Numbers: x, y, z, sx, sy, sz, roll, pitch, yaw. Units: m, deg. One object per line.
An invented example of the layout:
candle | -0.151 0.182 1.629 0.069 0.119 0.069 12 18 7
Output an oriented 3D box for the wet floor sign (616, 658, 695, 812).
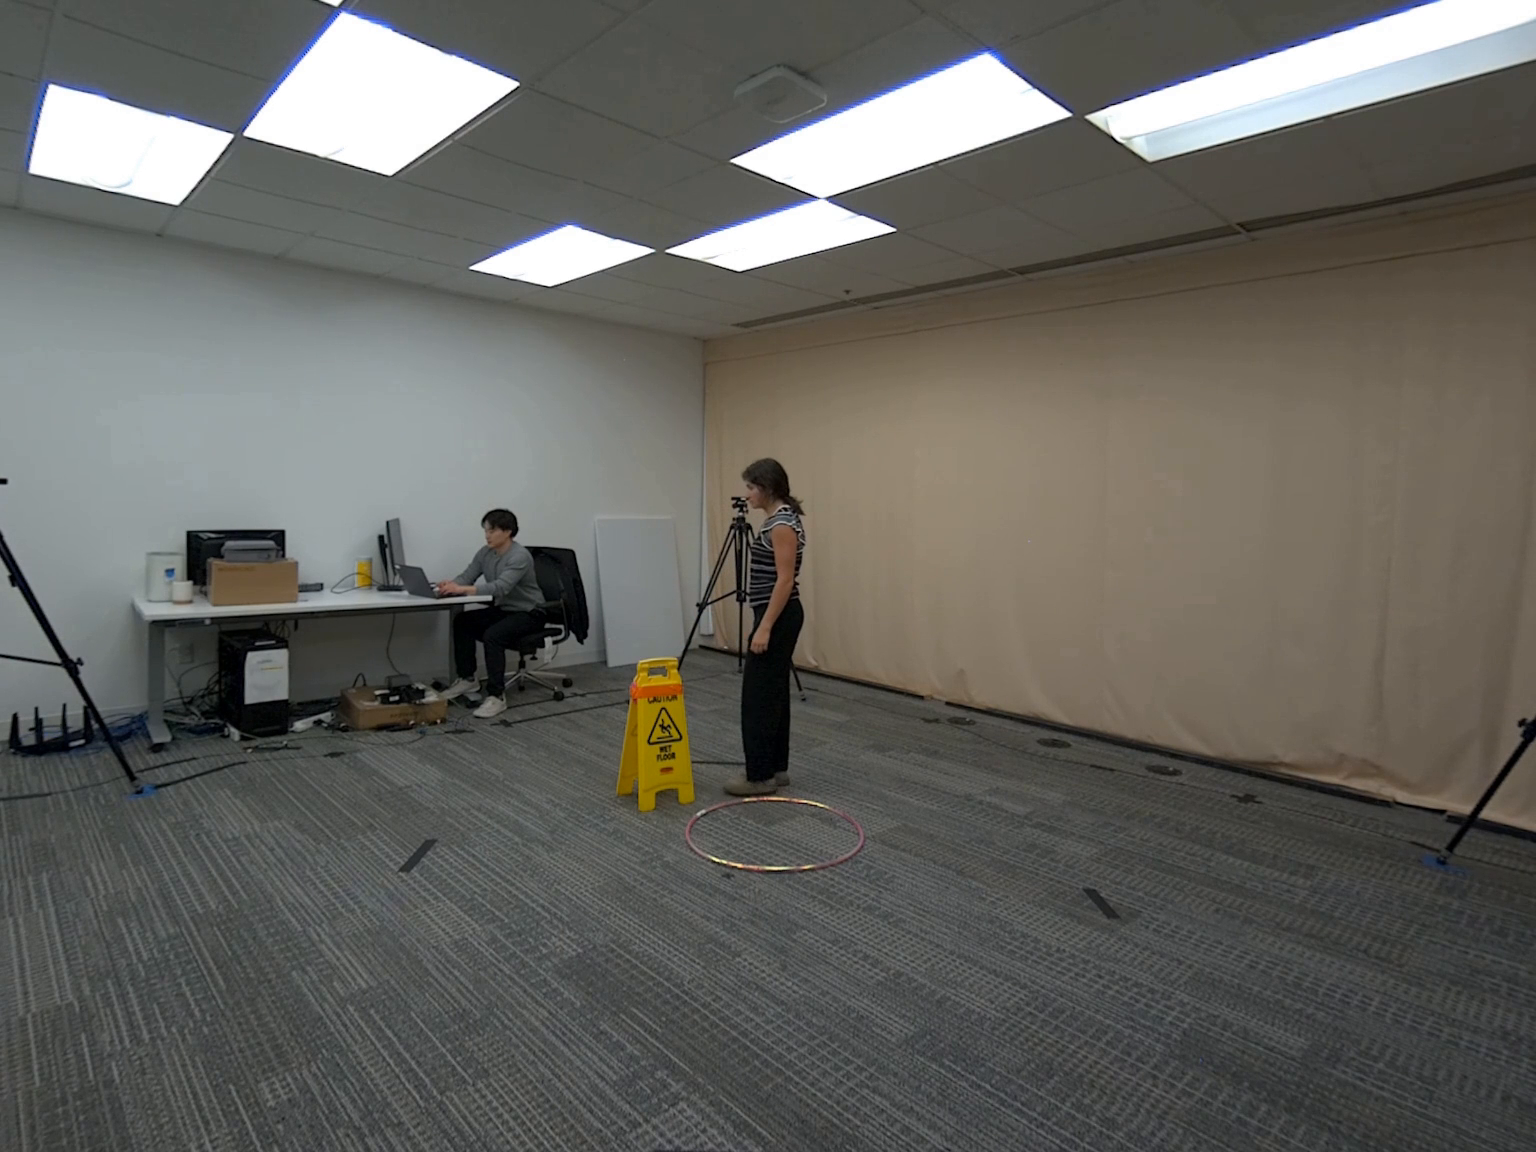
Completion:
wet floor sign | -0.522 0.704 3.878 0.276 0.644 0.297 -1 5 -33
